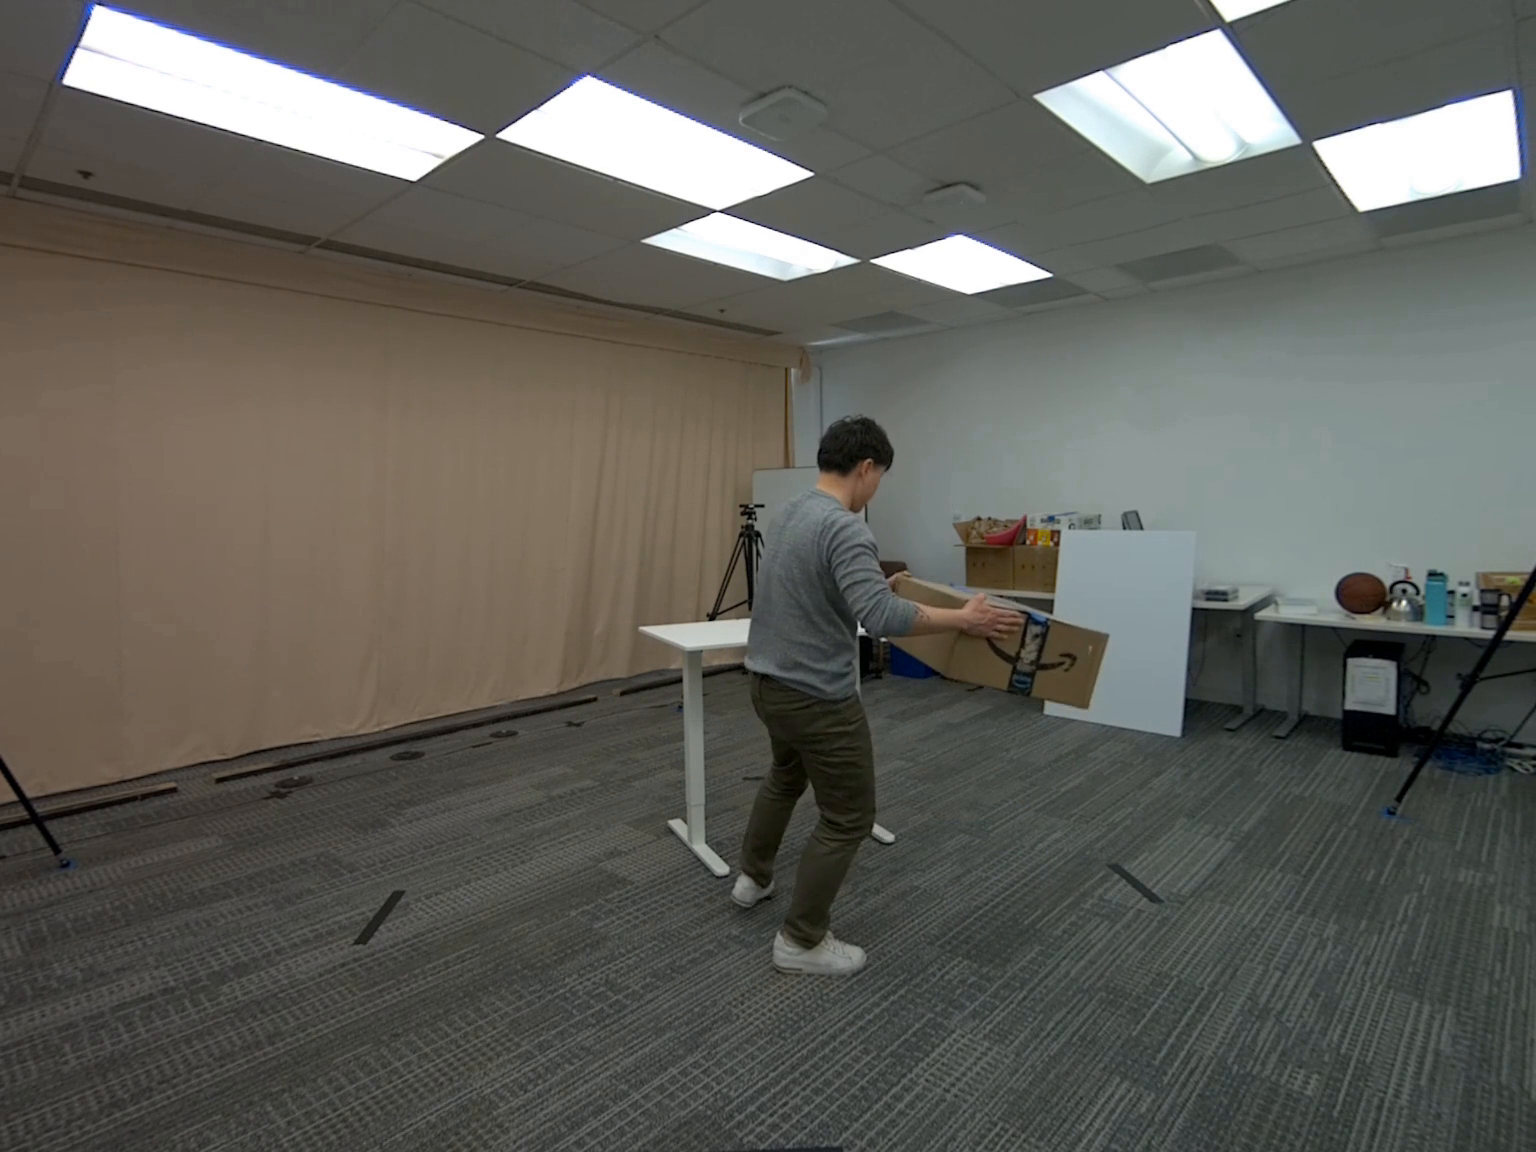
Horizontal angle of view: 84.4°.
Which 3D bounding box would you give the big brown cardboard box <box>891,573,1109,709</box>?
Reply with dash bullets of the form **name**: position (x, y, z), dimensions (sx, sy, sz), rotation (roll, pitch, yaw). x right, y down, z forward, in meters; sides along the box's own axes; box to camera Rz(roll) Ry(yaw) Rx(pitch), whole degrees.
- **big brown cardboard box**: position (0.660, 0.188, 2.516), dimensions (0.412, 0.233, 0.597), rotation (13, 3, -12)
